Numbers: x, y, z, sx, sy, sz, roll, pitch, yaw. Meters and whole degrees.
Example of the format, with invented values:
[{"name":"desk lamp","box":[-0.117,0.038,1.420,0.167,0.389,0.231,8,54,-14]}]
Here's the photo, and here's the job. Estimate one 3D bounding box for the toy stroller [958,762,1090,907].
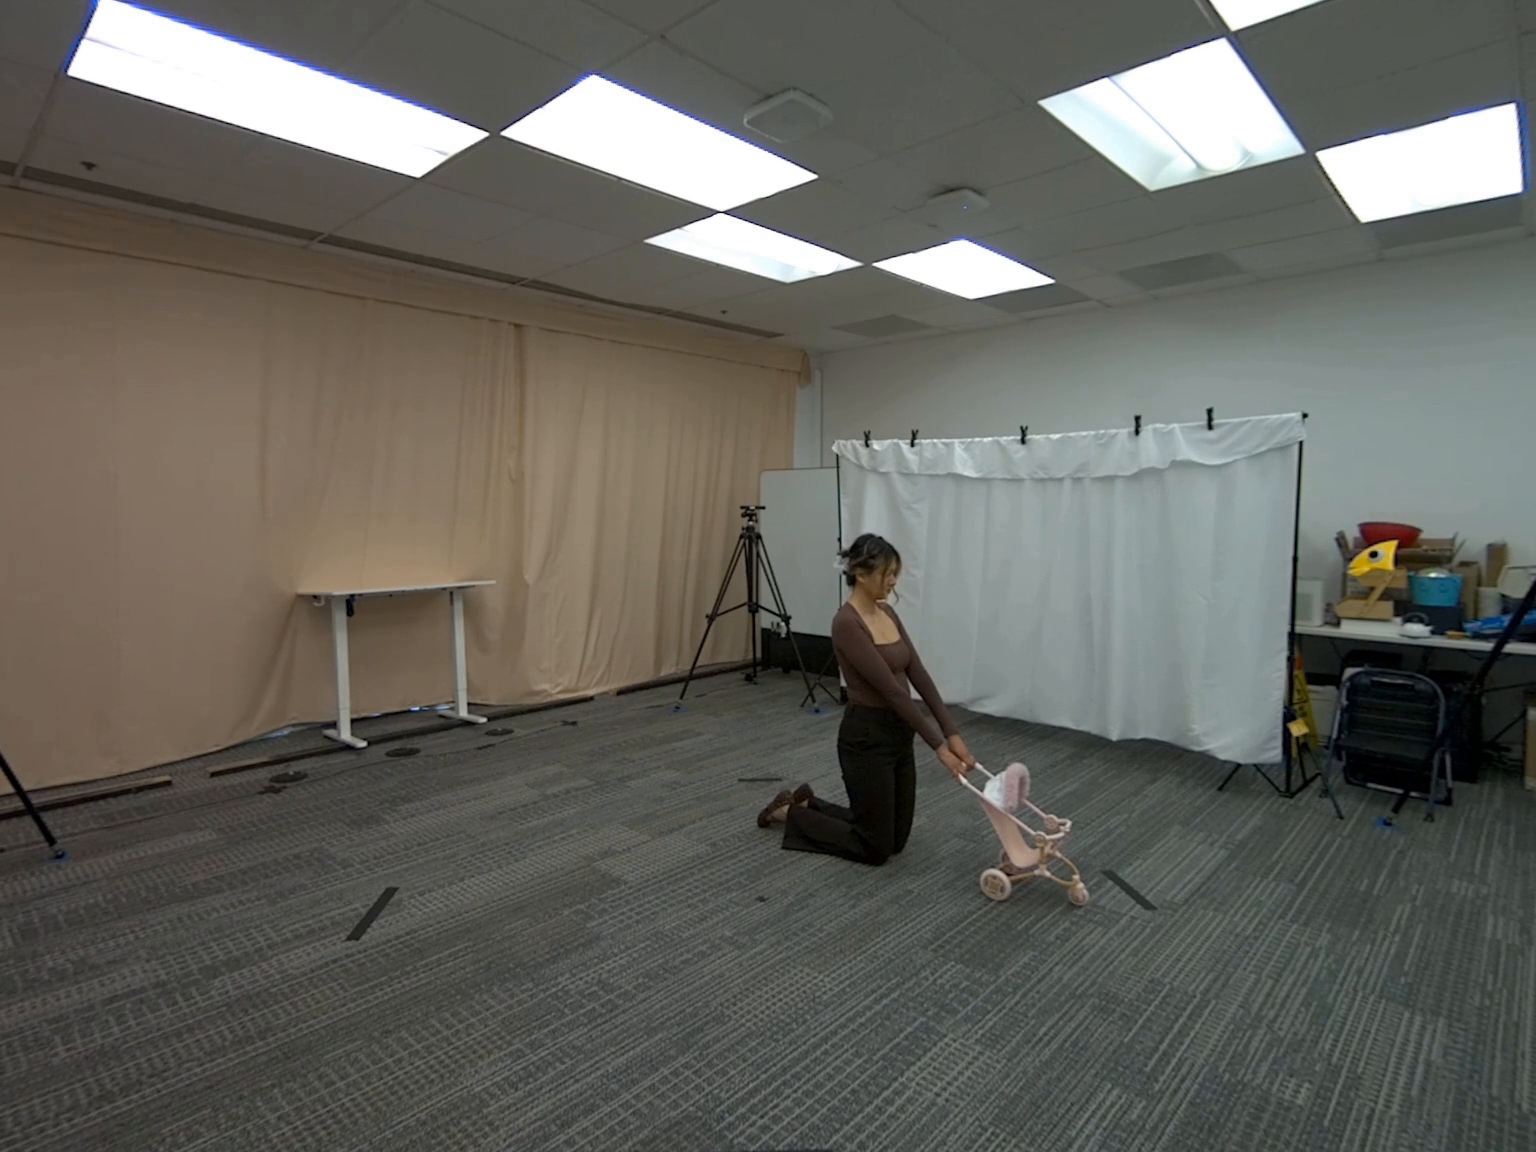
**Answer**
[{"name":"toy stroller","box":[0.923,0.916,3.023,0.349,0.538,0.273,-19,-8,36]}]
